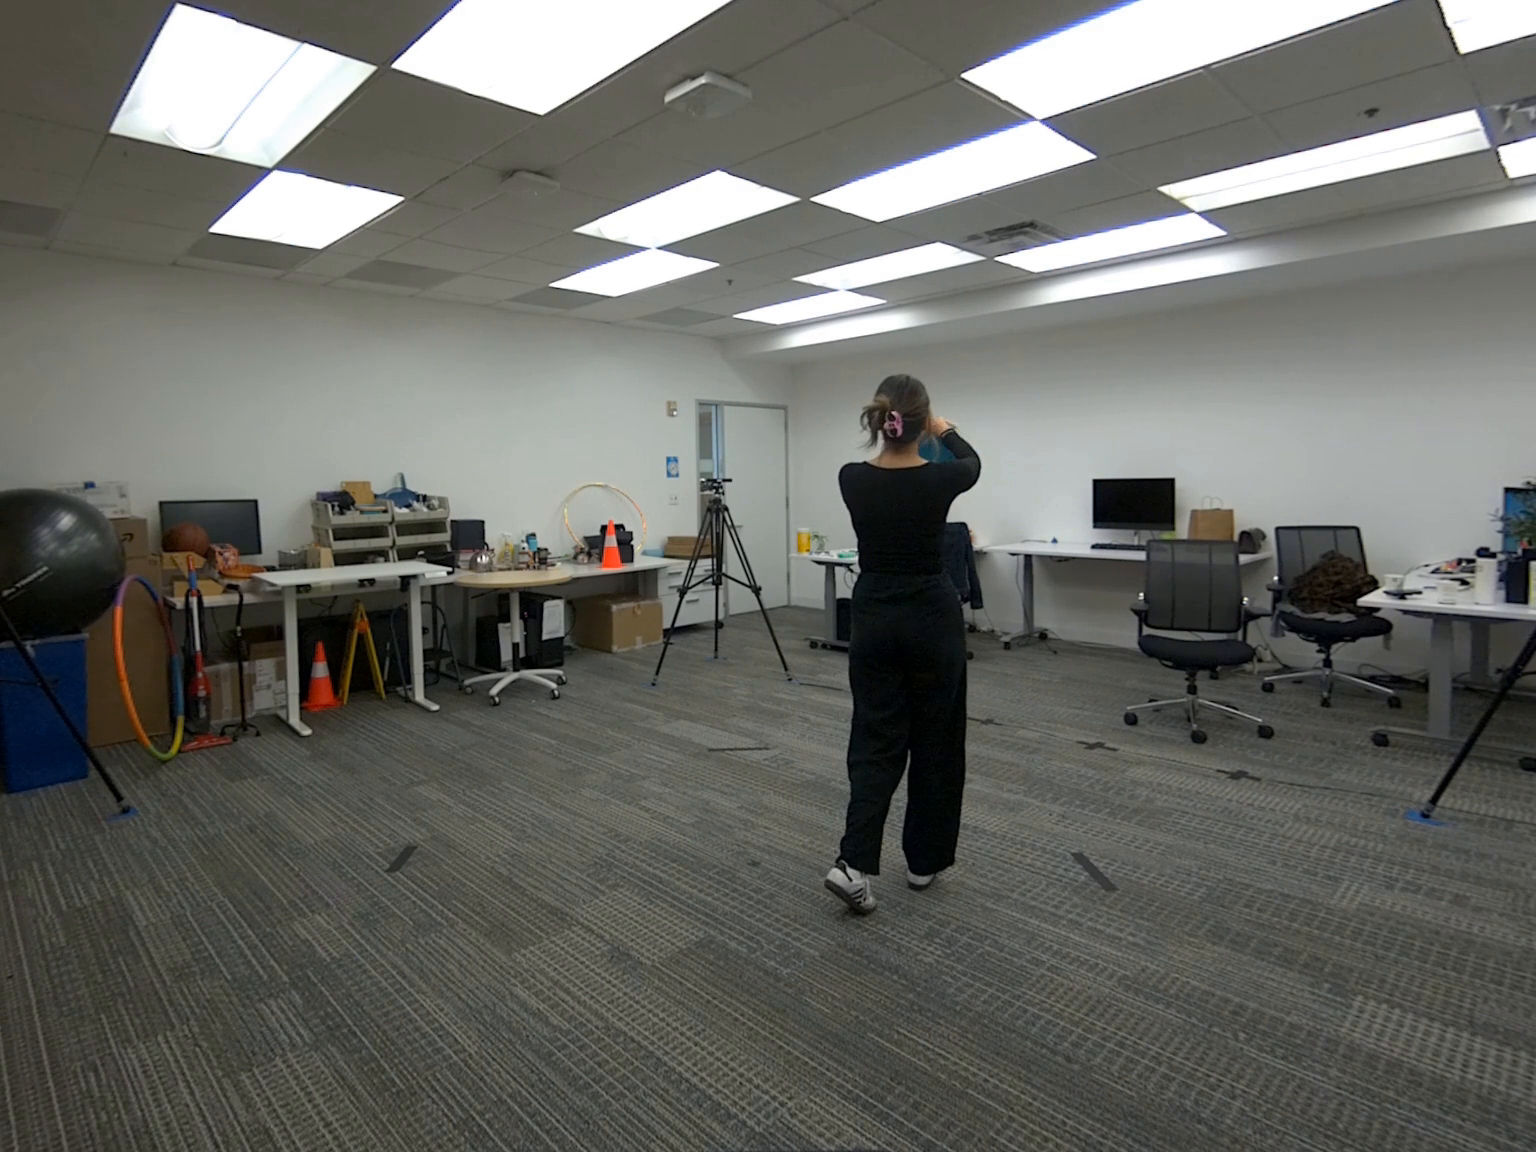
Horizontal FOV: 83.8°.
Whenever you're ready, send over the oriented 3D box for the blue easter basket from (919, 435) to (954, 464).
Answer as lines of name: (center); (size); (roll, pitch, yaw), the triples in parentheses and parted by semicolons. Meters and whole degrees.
blue easter basket: (0.651, -0.498, 3.323); (0.246, 0.240, 0.156); (0, 17, 12)
